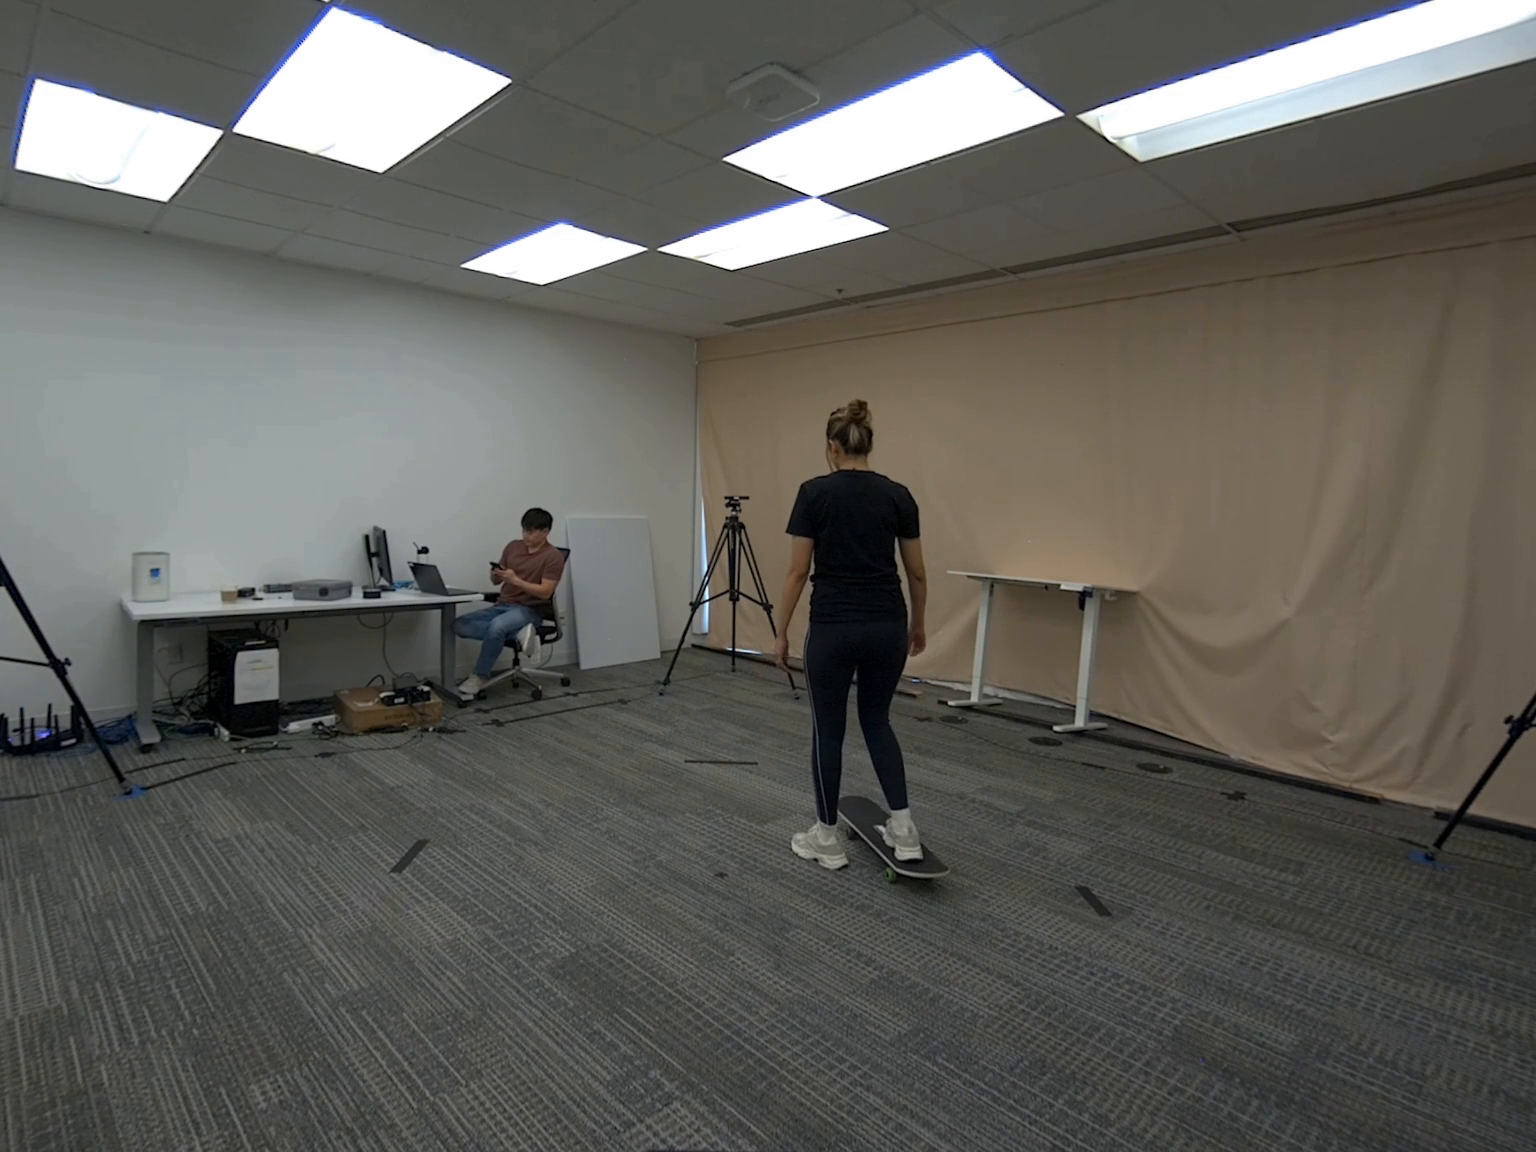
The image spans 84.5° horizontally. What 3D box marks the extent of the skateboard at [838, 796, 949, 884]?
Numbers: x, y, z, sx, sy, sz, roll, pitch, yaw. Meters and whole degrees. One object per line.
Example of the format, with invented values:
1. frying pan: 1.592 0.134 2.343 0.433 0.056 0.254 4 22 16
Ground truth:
1. skateboard: 0.454 1.046 3.310 0.191 0.110 0.797 1 5 -16
